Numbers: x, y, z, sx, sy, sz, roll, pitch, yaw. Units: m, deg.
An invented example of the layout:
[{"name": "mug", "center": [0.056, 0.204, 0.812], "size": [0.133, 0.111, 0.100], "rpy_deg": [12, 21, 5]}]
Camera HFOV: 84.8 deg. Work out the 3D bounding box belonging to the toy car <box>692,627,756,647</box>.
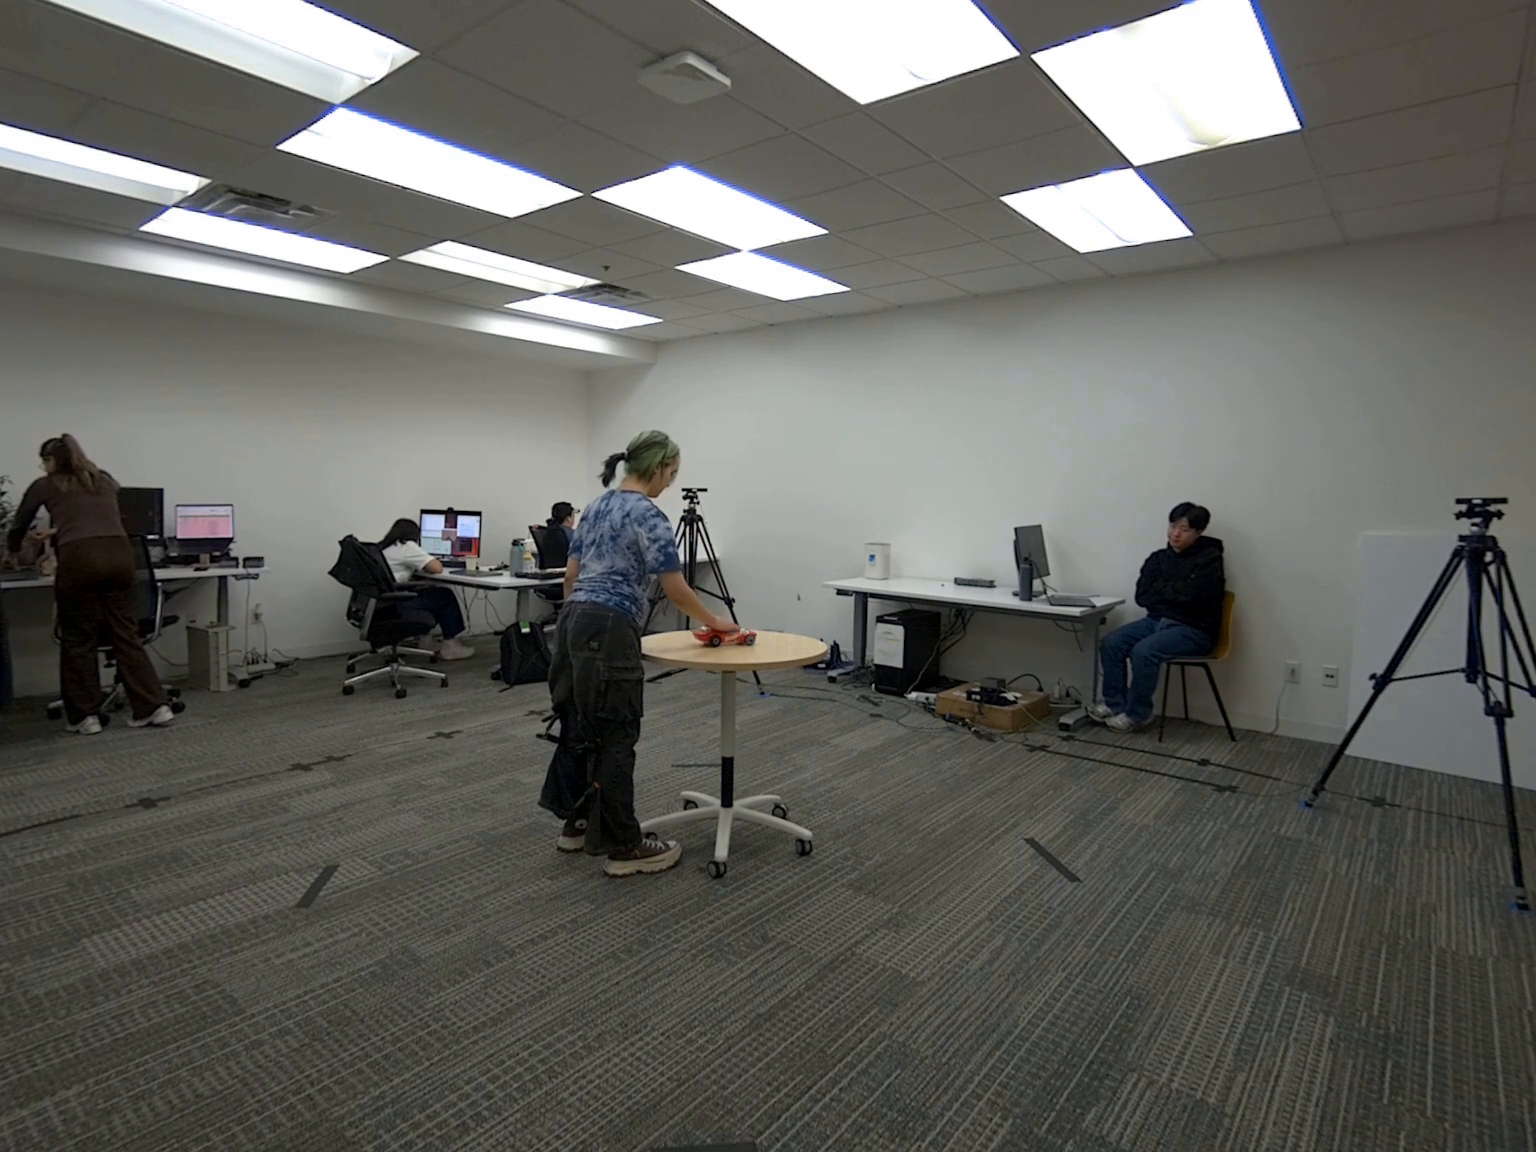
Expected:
[{"name": "toy car", "center": [-0.187, 0.236, 3.332], "size": [0.249, 0.083, 0.133], "rpy_deg": [11, 0, -20]}]
